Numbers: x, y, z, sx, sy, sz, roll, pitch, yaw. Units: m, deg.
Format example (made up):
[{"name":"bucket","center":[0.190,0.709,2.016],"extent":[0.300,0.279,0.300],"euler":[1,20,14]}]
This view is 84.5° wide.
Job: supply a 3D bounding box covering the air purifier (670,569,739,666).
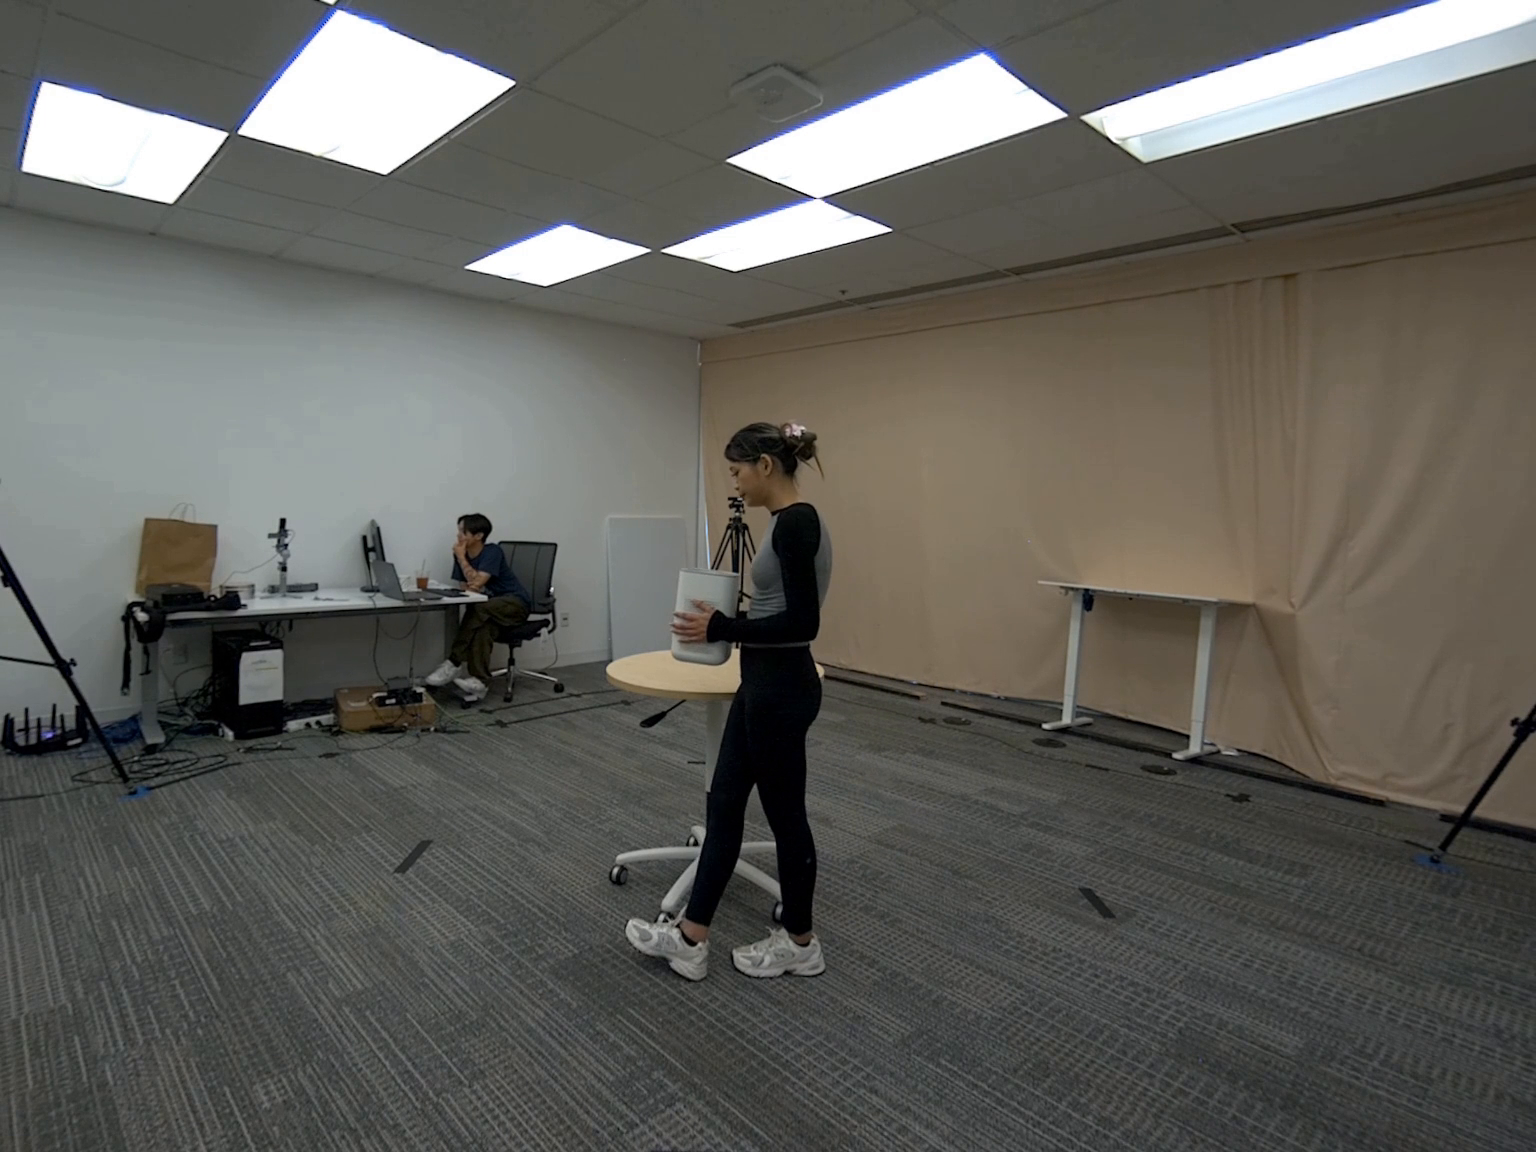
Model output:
[{"name":"air purifier","center":[-0.184,0.122,2.468],"extent":[0.173,0.265,0.170],"euler":[12,3,10]}]
